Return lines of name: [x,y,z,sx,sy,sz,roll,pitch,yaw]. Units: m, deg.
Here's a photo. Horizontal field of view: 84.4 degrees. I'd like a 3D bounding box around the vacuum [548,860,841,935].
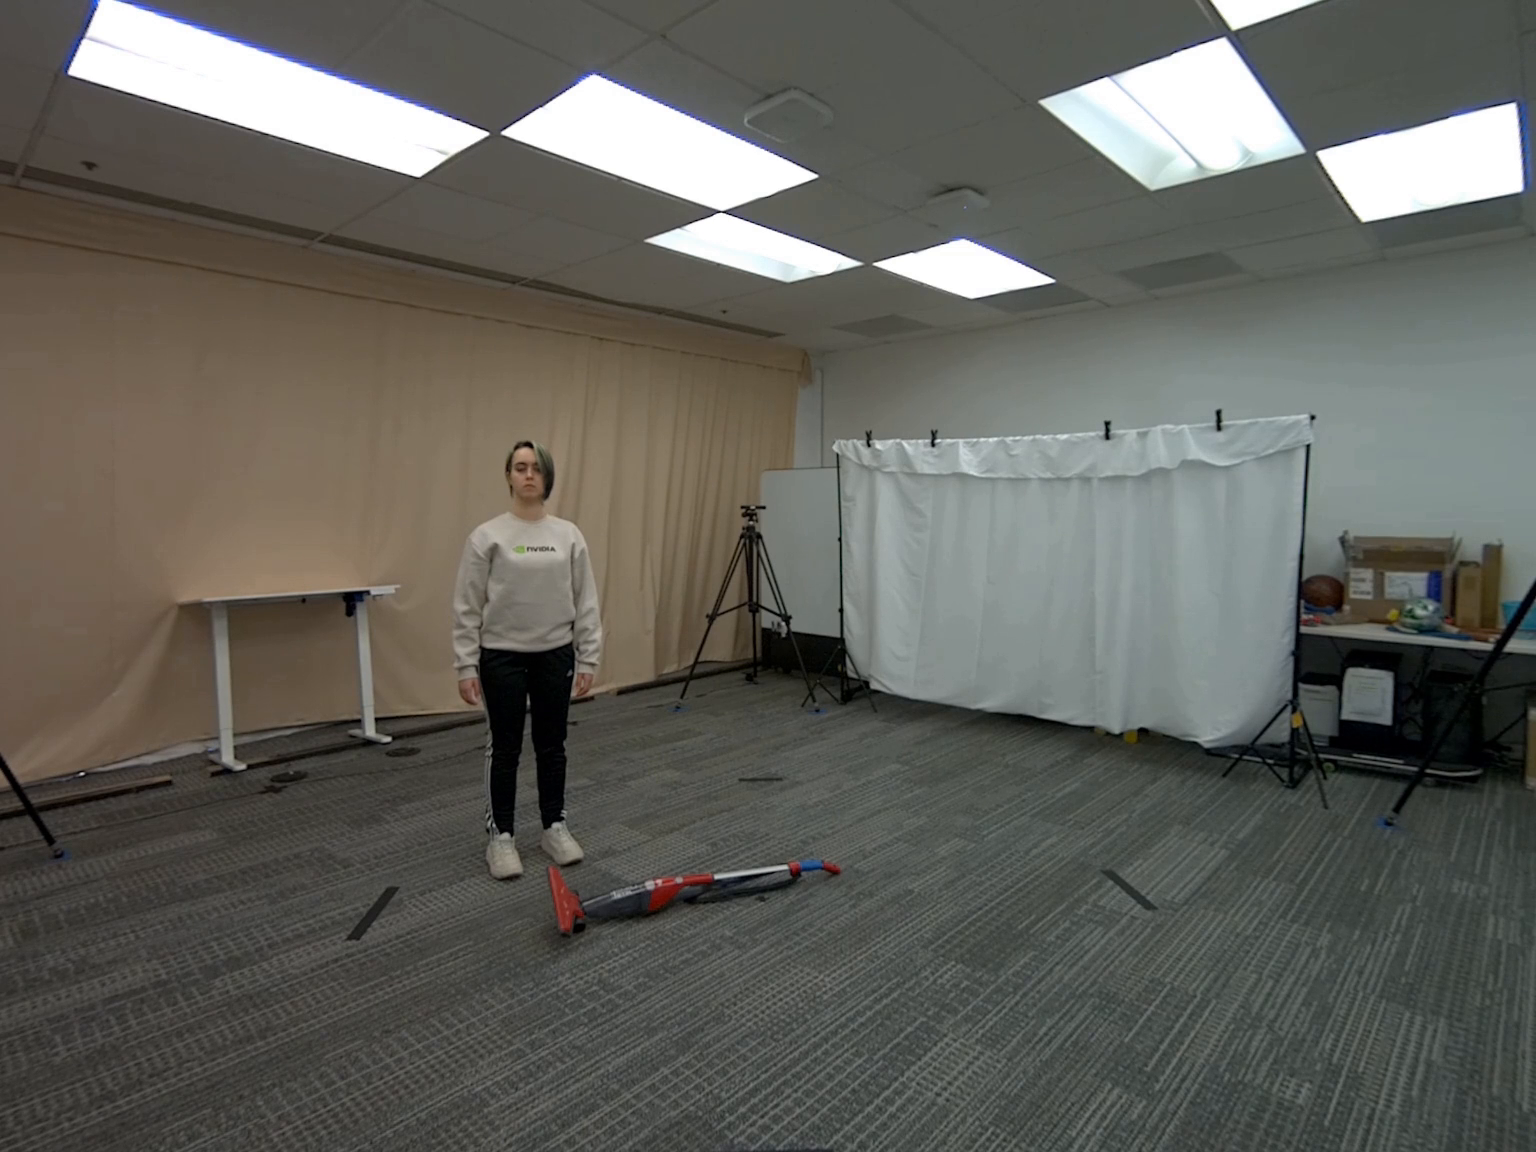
vacuum: [-0.206,1.098,2.970,1.024,0.143,0.260,2,34,-24]
